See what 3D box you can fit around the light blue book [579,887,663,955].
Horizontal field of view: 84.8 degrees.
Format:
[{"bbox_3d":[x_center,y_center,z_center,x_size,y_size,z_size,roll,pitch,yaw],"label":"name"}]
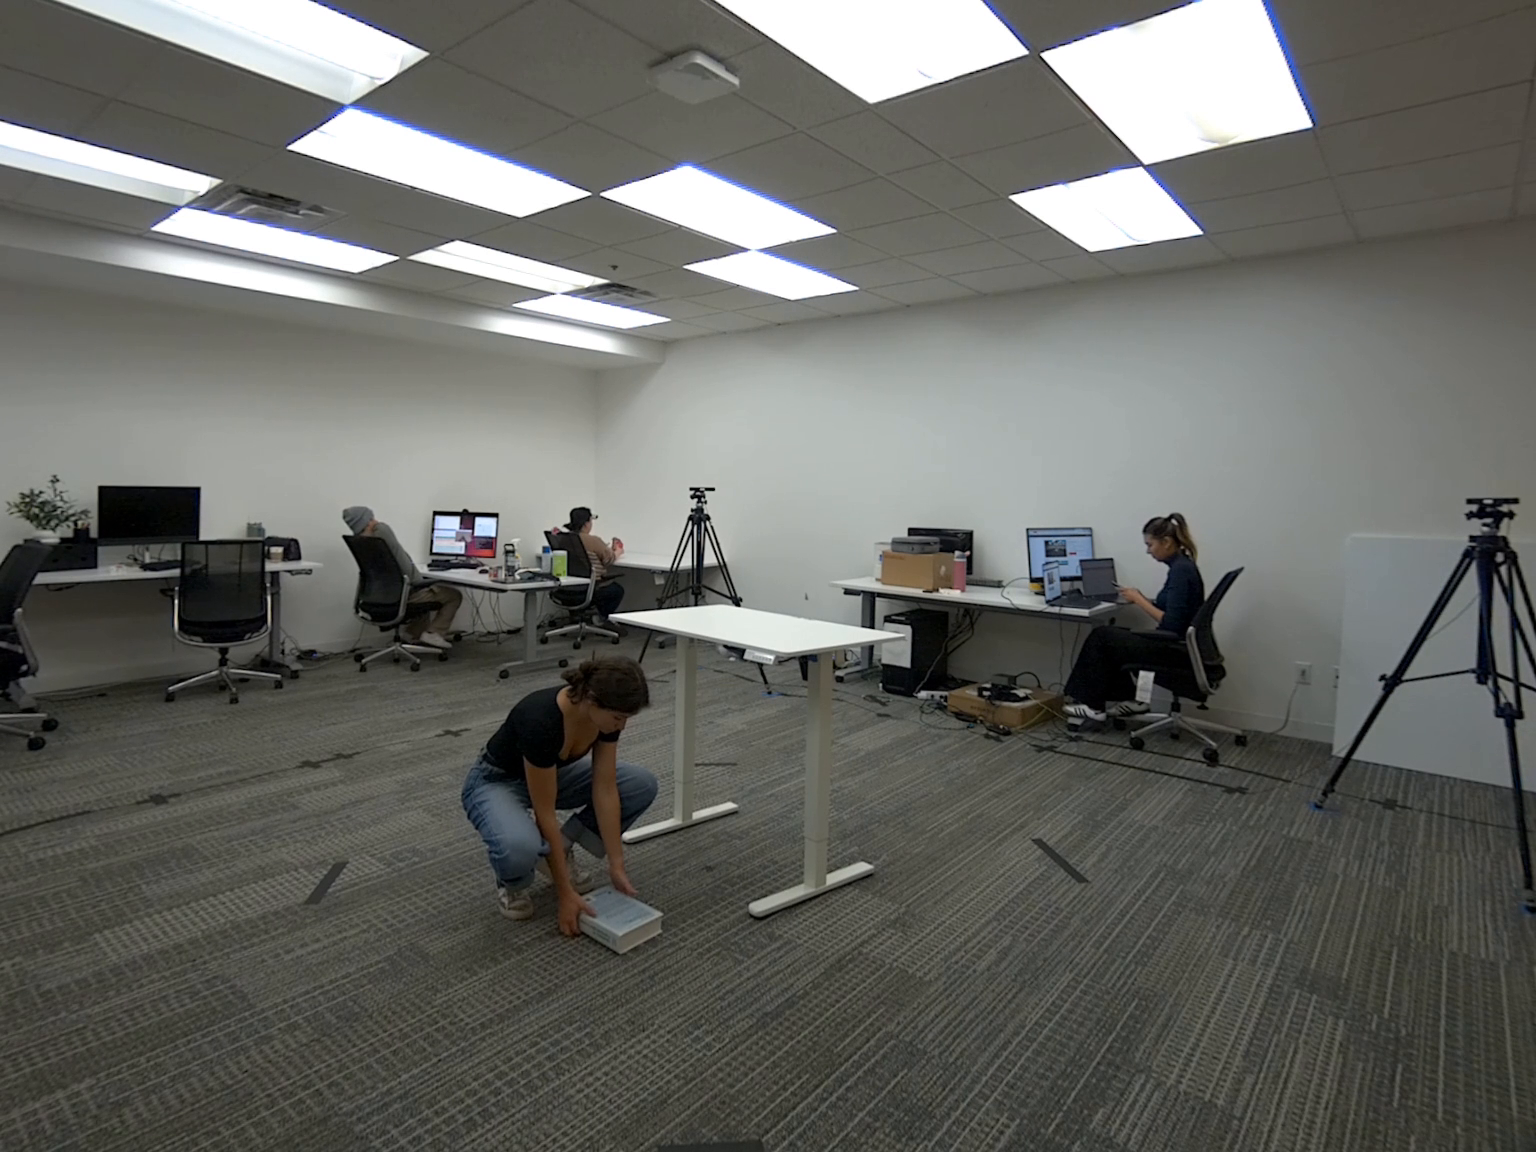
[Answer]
[{"bbox_3d":[-0.498,1.079,2.655,0.270,0.059,0.186,8,8,39],"label":"light blue book"}]
